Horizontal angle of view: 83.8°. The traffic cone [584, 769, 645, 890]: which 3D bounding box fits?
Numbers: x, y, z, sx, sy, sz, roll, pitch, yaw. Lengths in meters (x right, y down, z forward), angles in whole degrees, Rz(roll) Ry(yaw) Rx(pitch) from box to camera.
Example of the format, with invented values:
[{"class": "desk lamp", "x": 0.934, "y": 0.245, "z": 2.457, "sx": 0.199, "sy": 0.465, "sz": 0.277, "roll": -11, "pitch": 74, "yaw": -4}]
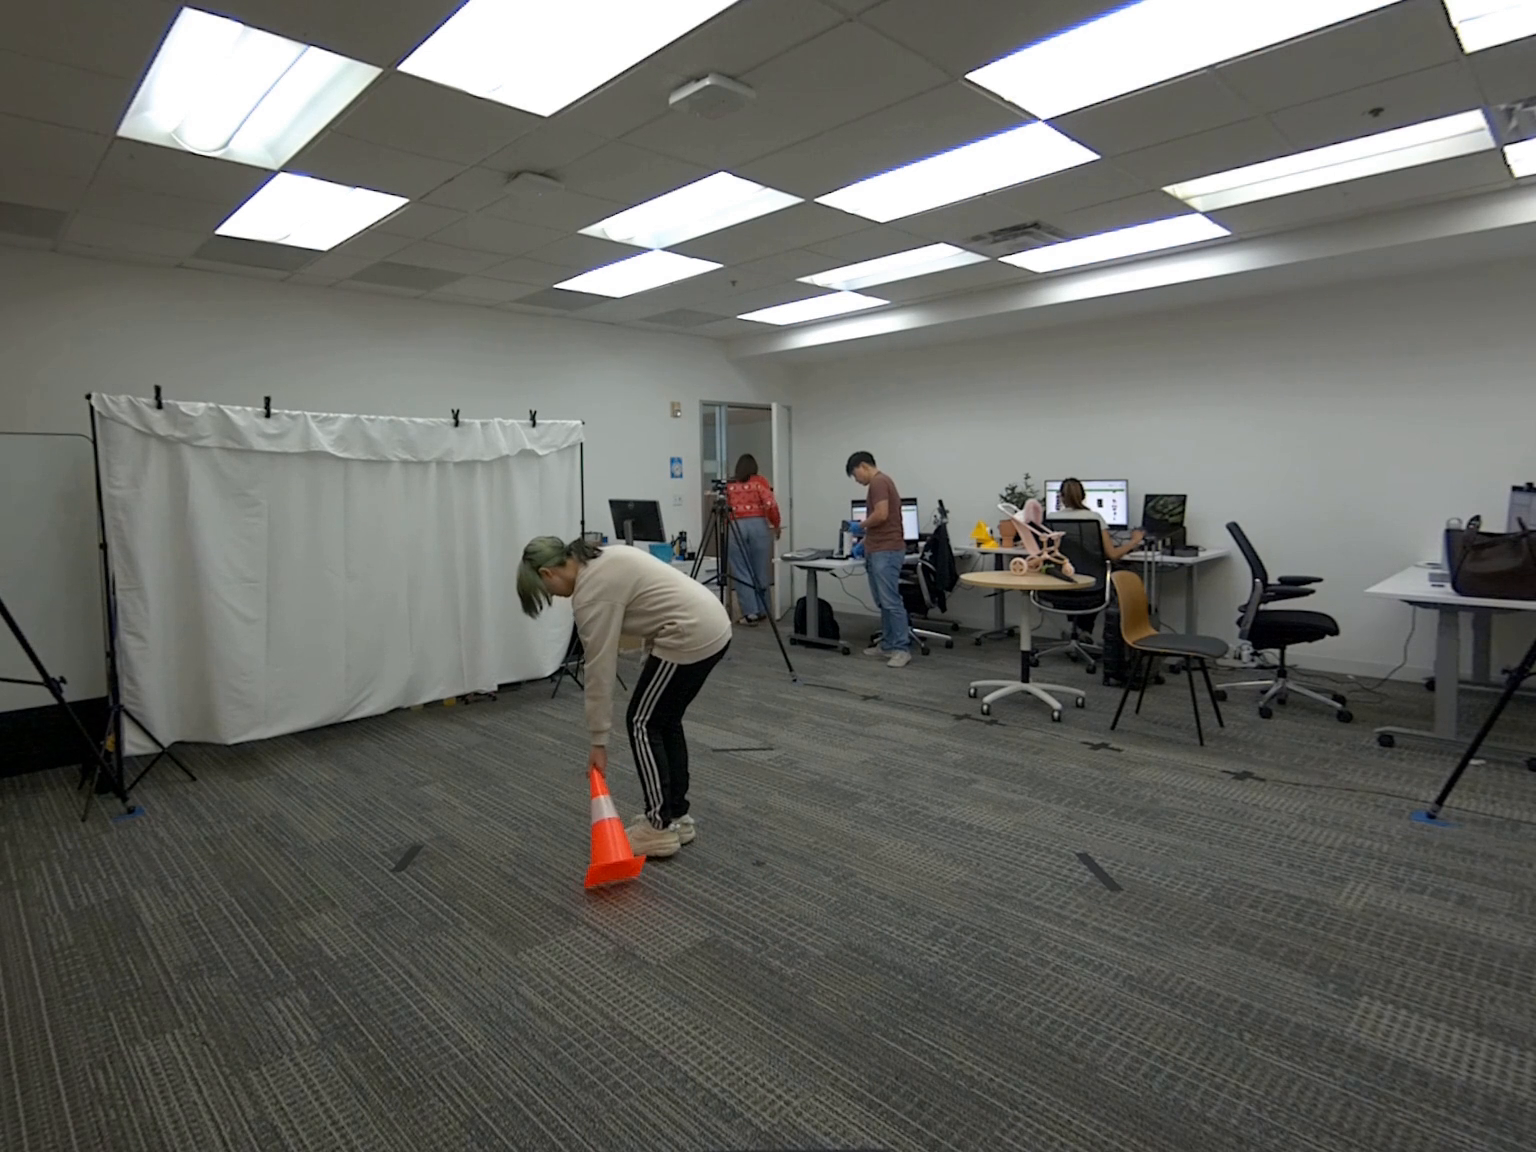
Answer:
[{"class": "traffic cone", "x": -0.585, "y": 0.859, "z": 3.008, "sx": 0.201, "sy": 0.396, "sz": 0.200, "roll": -6, "pitch": -36, "yaw": -20}]
